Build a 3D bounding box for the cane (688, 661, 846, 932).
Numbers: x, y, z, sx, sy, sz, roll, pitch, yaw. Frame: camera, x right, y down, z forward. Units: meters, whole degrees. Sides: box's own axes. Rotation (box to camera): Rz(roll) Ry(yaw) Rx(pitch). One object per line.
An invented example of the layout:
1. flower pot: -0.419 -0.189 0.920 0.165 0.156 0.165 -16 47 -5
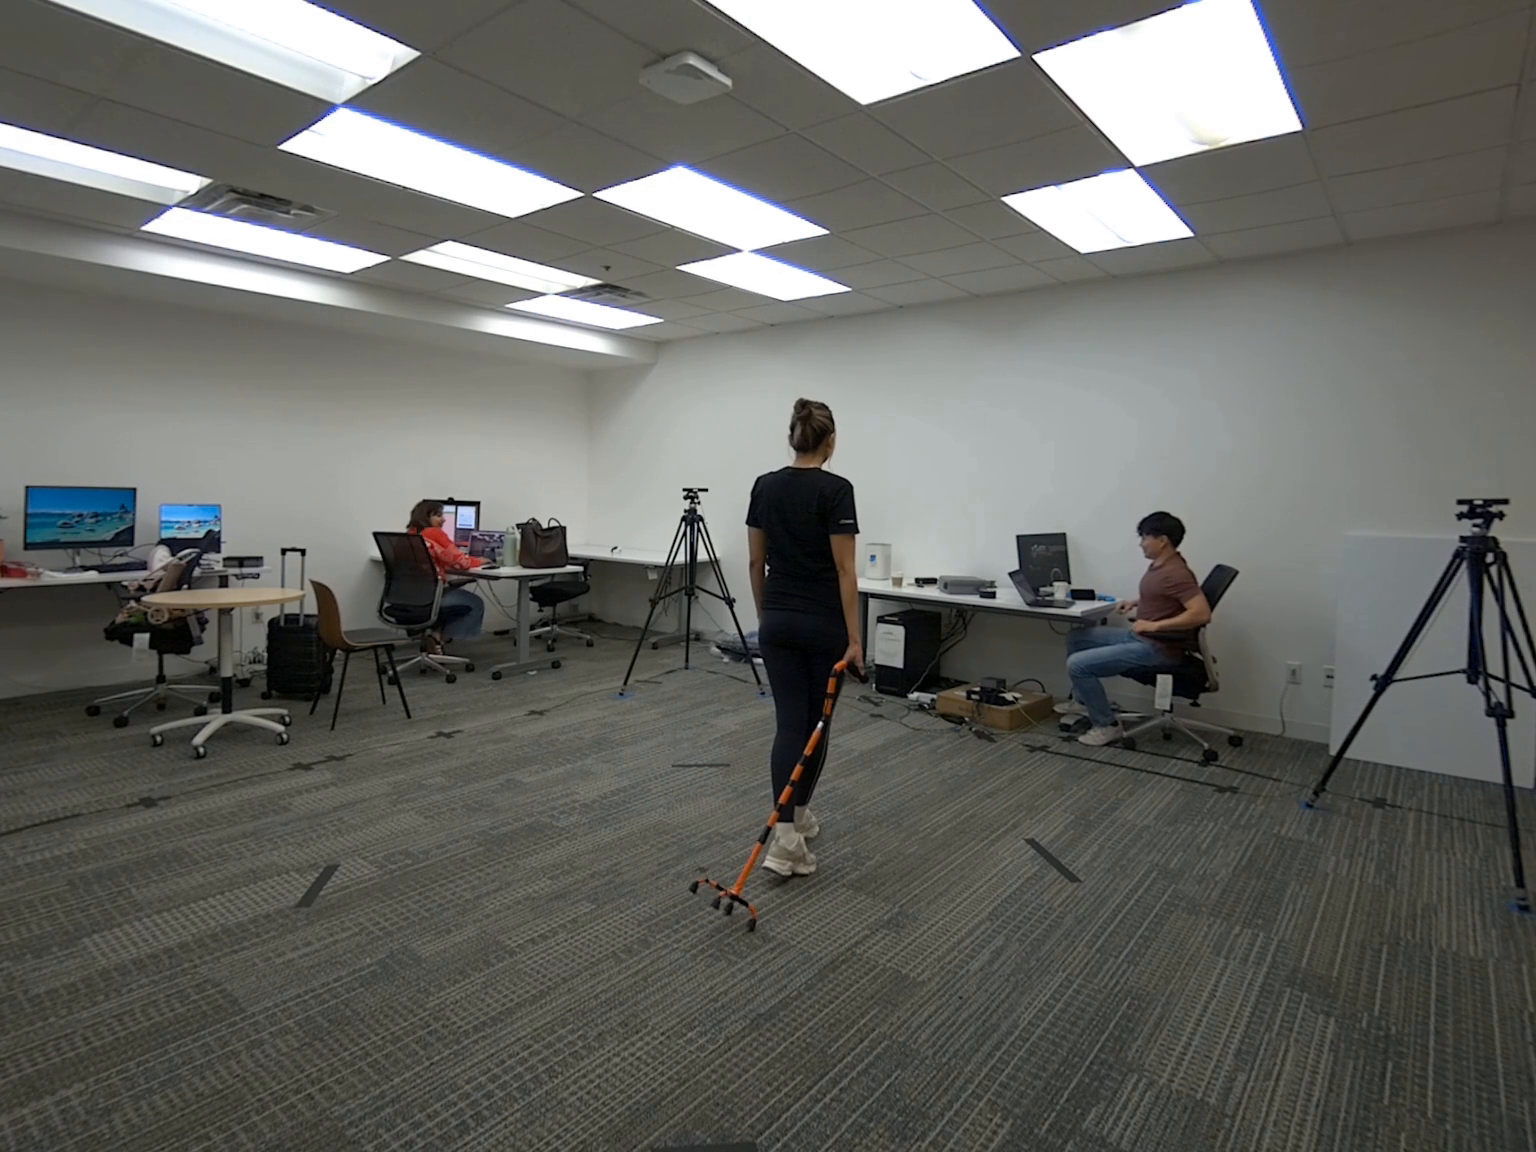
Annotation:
1. cane: 0.061 0.678 2.814 0.199 0.912 0.156 41 -19 -31
